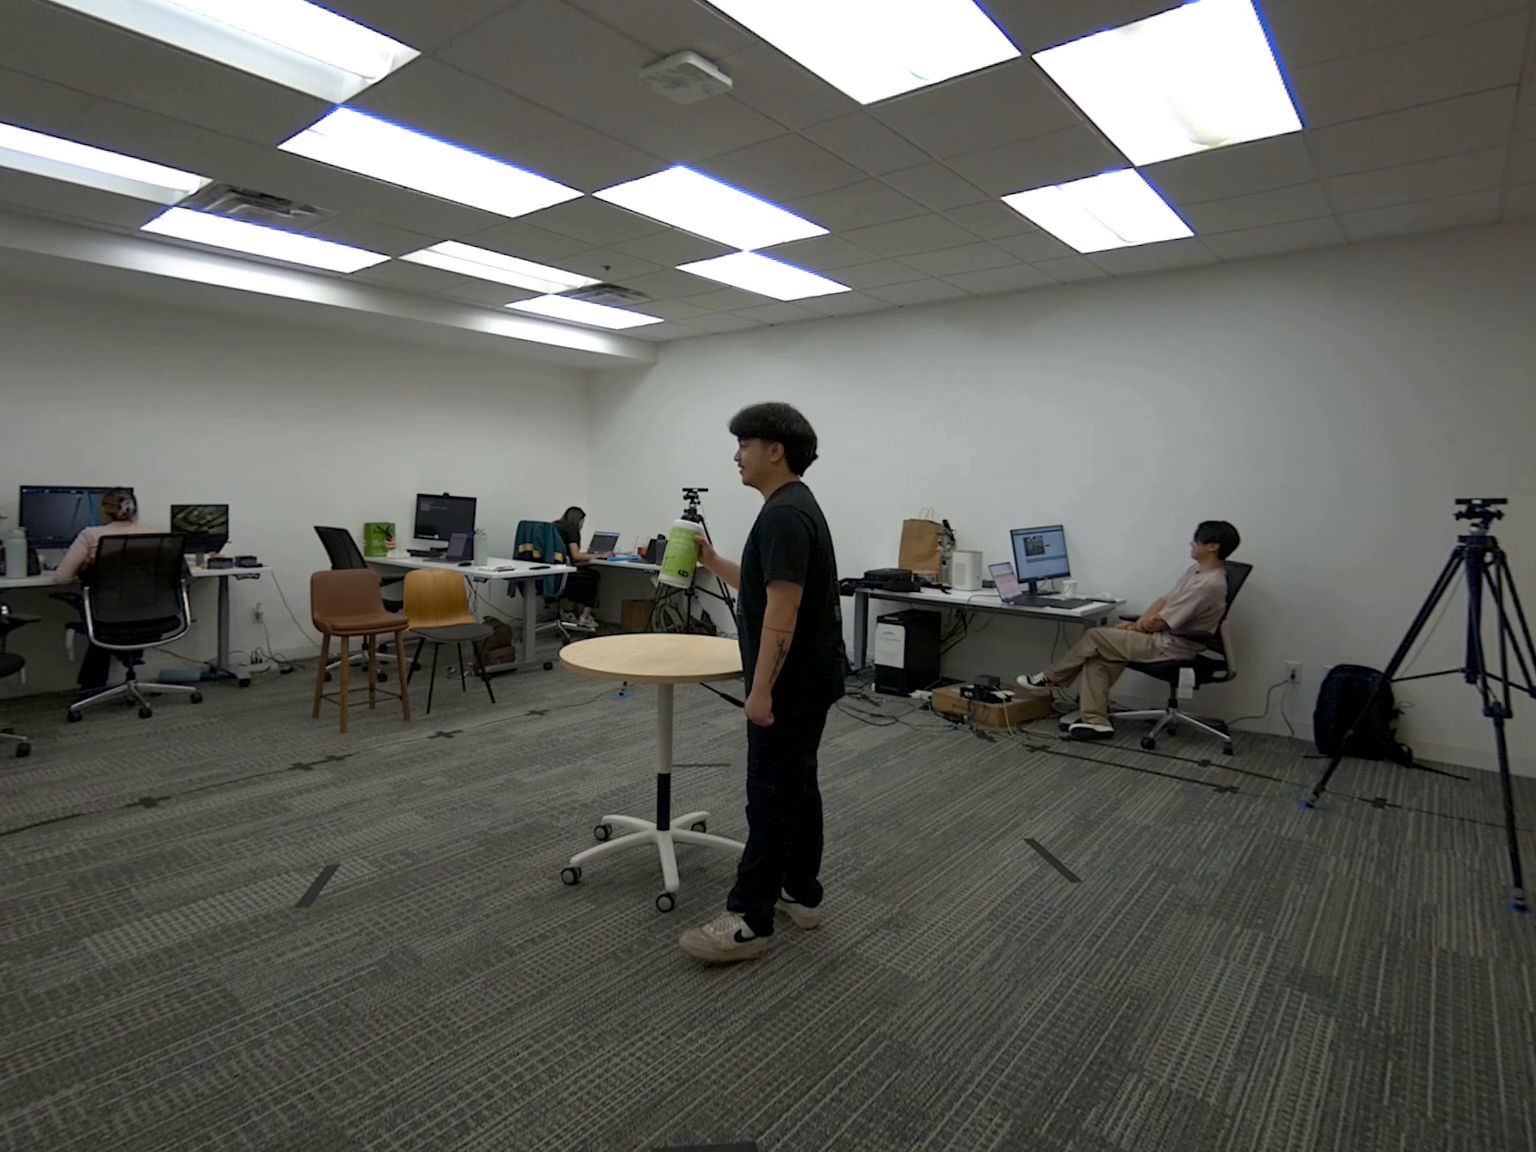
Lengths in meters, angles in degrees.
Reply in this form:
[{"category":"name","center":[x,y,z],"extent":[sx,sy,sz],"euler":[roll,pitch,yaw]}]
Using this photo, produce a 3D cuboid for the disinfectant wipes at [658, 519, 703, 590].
[{"category":"disinfectant wipes","center":[-0.305,-0.078,2.888],"extent":[0.118,0.218,0.117],"euler":[13,-7,0]}]
